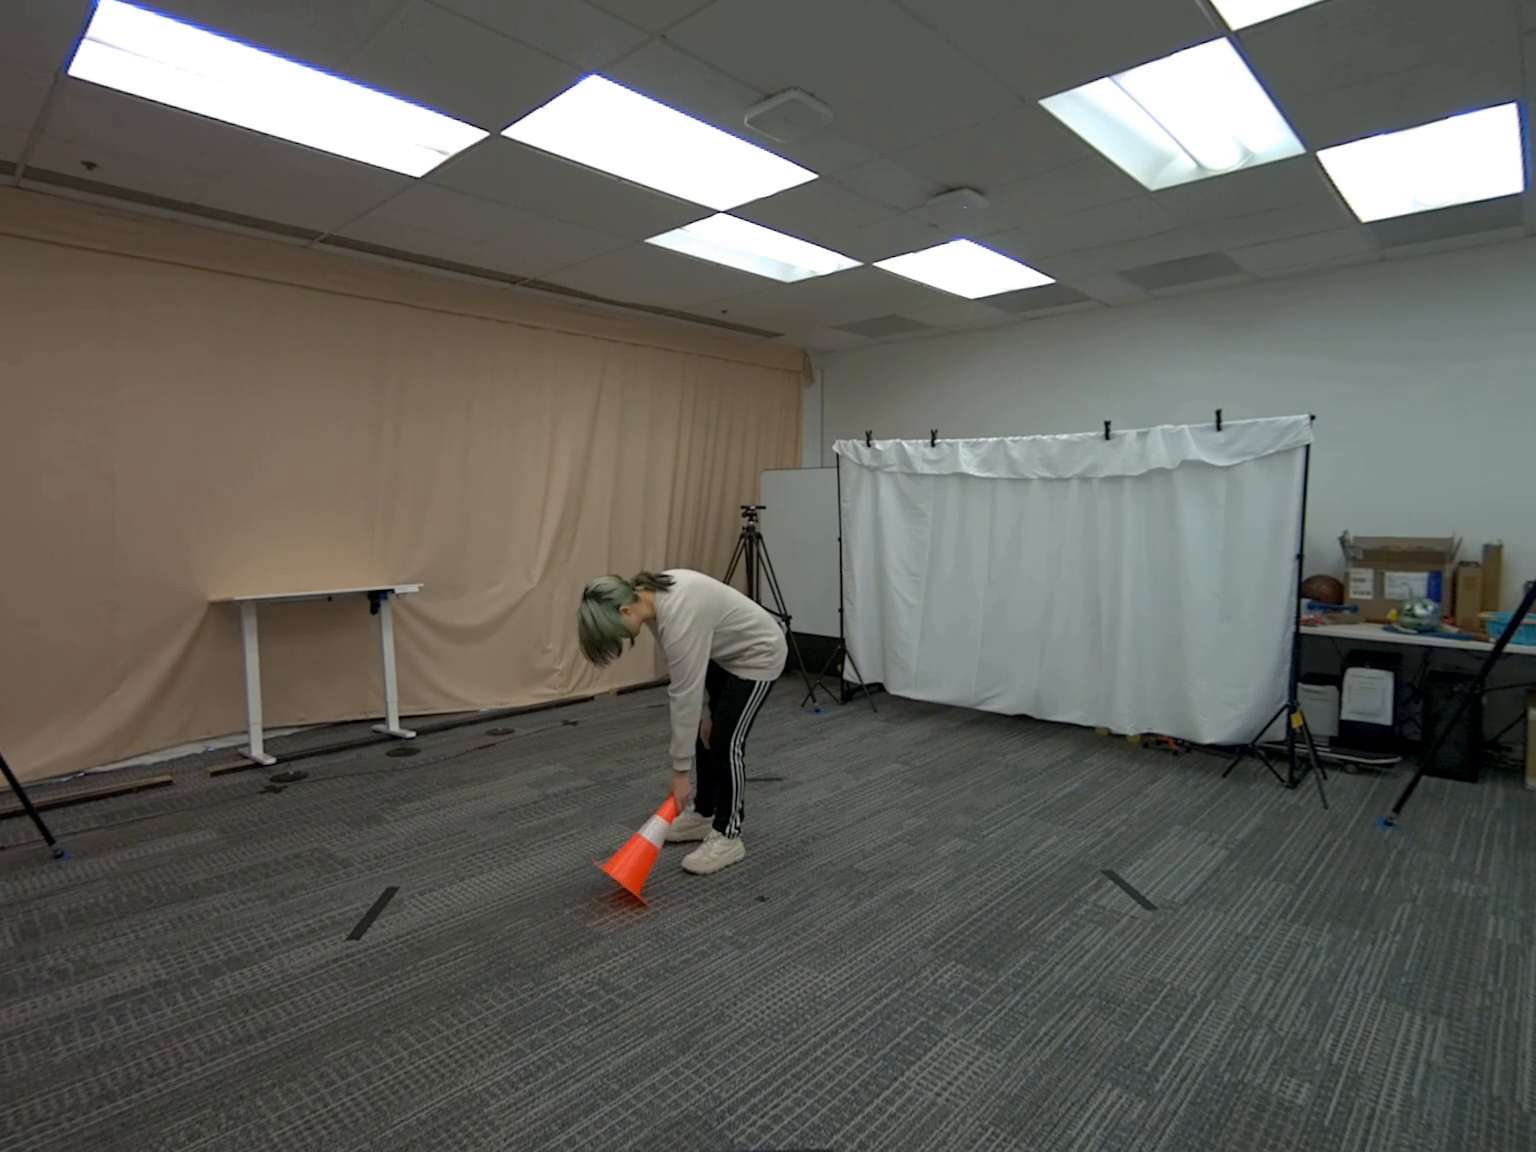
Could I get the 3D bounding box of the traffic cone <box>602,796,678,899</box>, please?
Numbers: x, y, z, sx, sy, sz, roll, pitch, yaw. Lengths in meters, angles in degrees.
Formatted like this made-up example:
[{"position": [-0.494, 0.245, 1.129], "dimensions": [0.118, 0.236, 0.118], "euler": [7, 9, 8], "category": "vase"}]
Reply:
[{"position": [-0.420, 0.941, 3.021], "dimensions": [0.212, 0.382, 0.197], "euler": [13, -31, 46], "category": "traffic cone"}]
